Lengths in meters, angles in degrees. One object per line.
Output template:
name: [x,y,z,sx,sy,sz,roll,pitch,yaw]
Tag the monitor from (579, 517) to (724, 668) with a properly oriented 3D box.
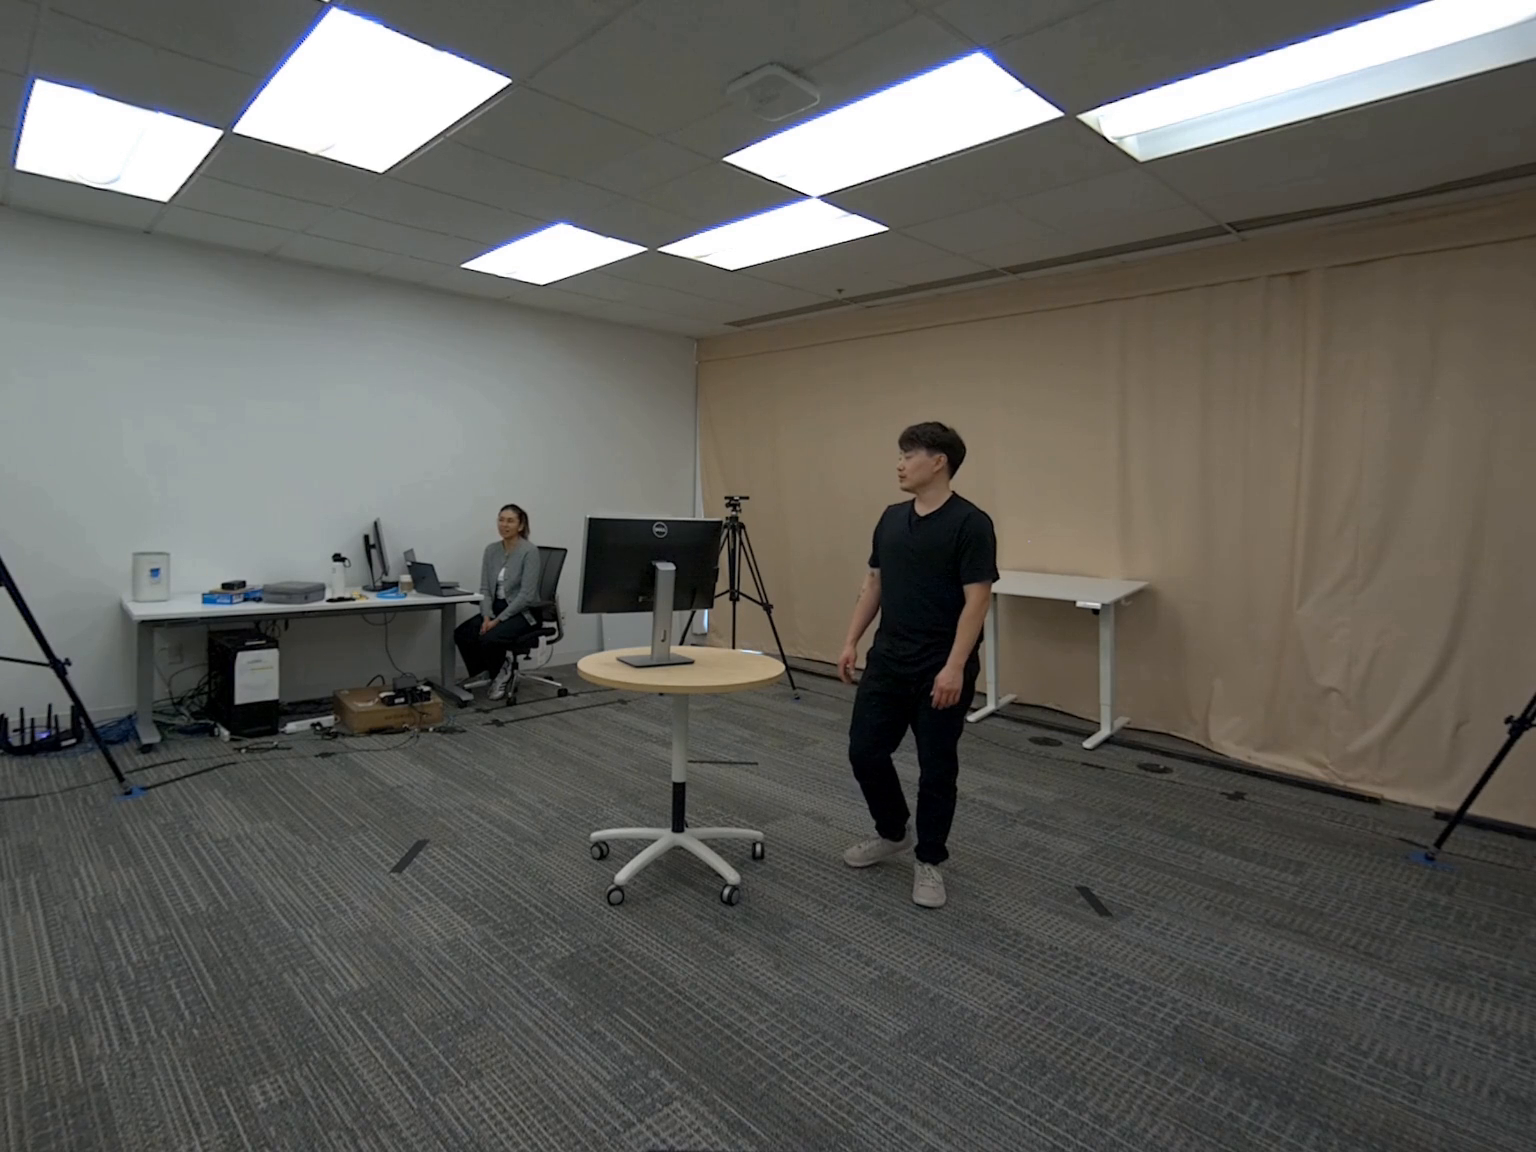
monitor: [-0.418,0.059,3.133,0.527,0.522,0.191,0,2,-33]
